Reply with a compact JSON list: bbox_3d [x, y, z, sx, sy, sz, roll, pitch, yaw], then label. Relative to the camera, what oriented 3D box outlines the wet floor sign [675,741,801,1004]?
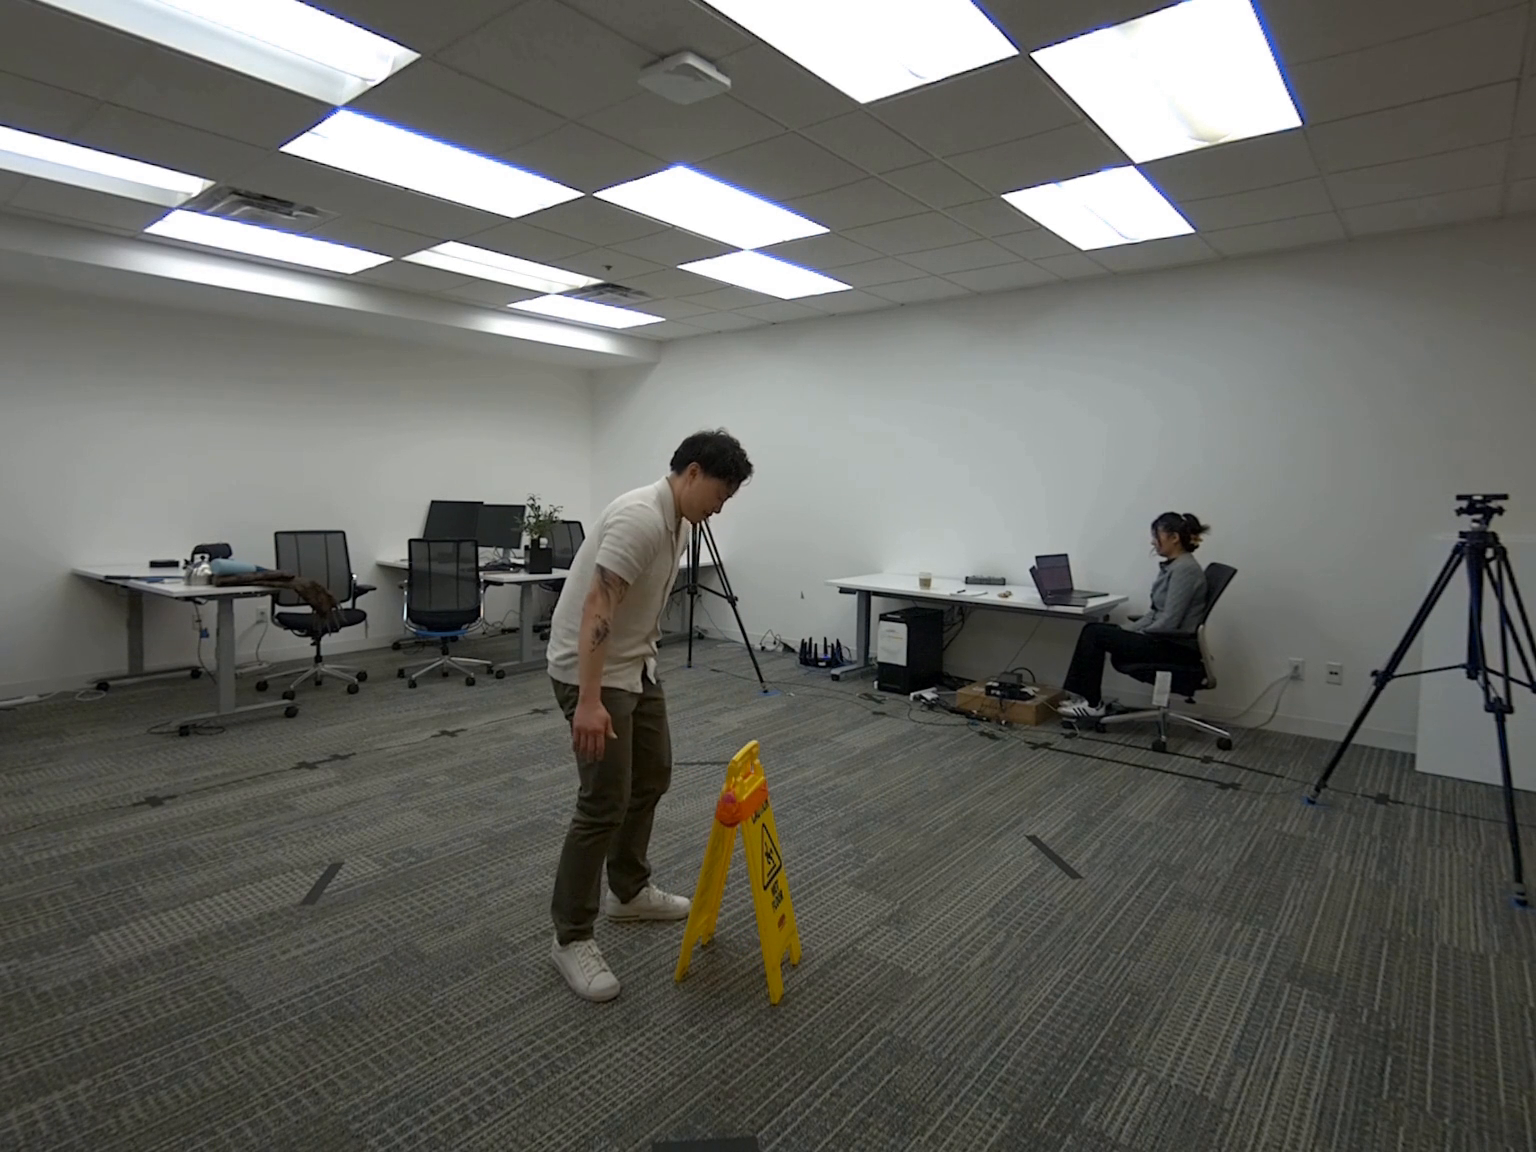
[{"bbox_3d":[-0.078,0.812,2.443,0.296,0.643,0.278,3,5,18],"label":"wet floor sign"}]
